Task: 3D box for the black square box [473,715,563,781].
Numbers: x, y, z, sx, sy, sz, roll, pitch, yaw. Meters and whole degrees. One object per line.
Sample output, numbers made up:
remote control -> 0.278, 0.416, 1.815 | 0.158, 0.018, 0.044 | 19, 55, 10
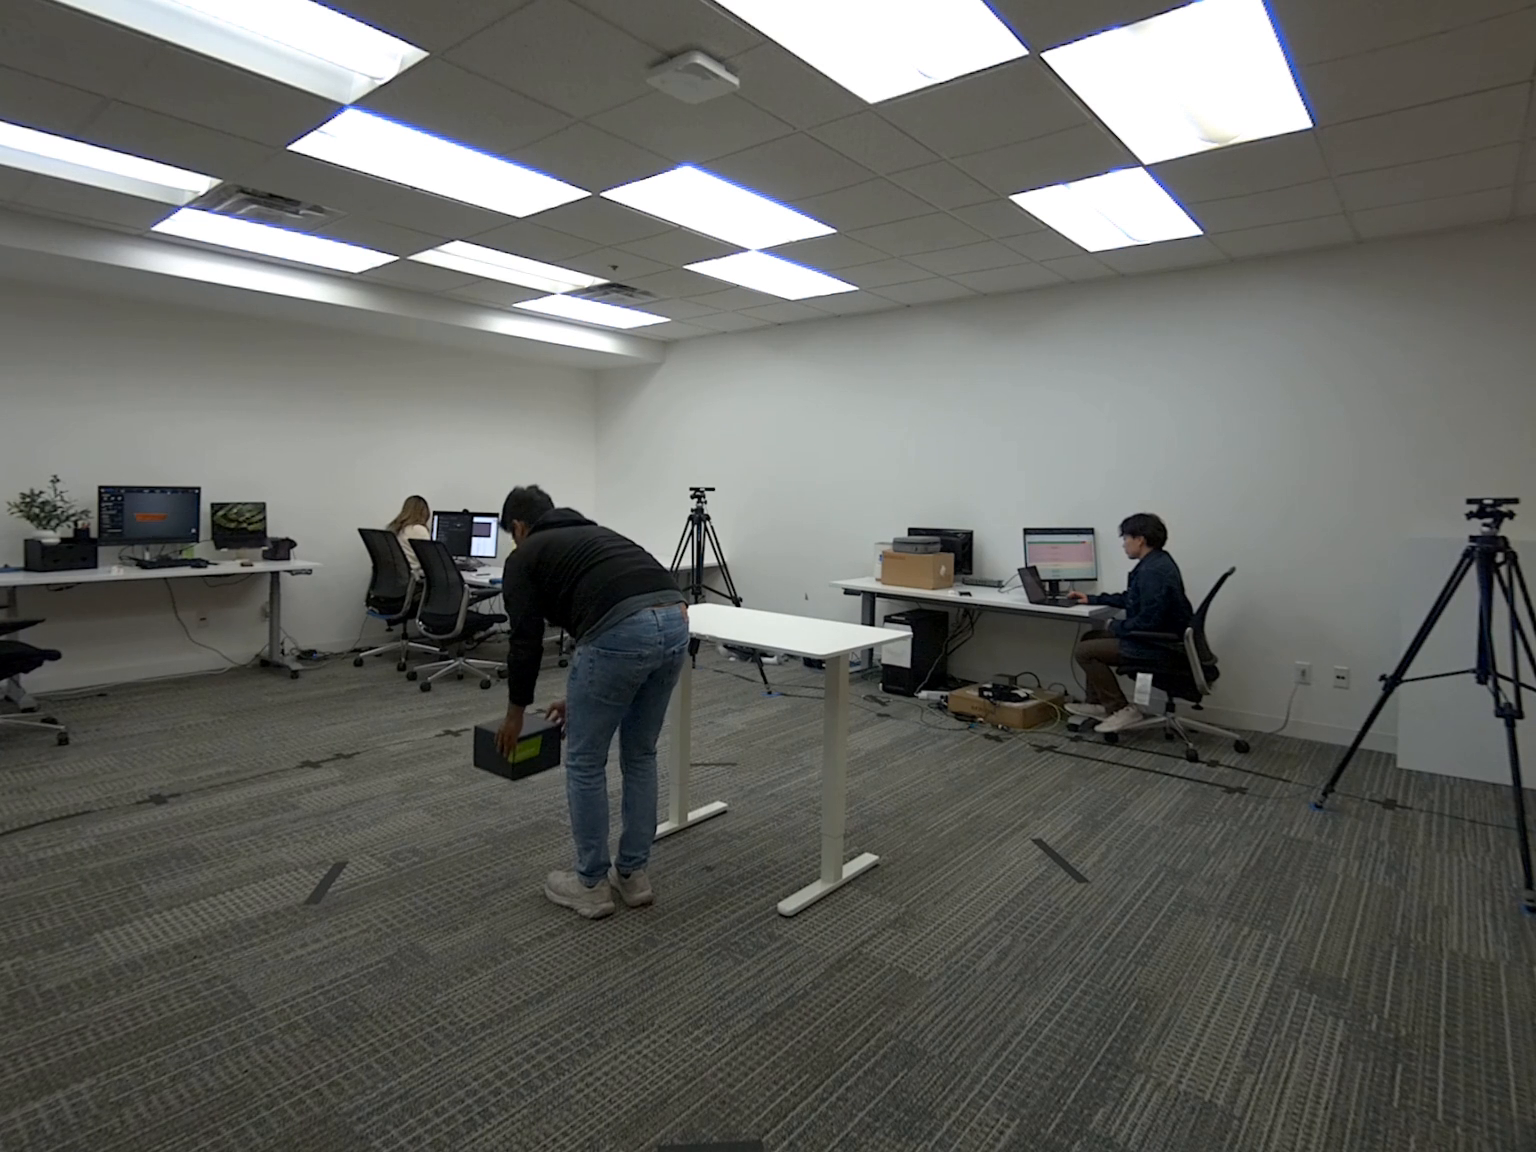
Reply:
black square box -> -0.916, 0.612, 3.079 | 0.224, 0.155, 0.222 | 7, 8, 33
